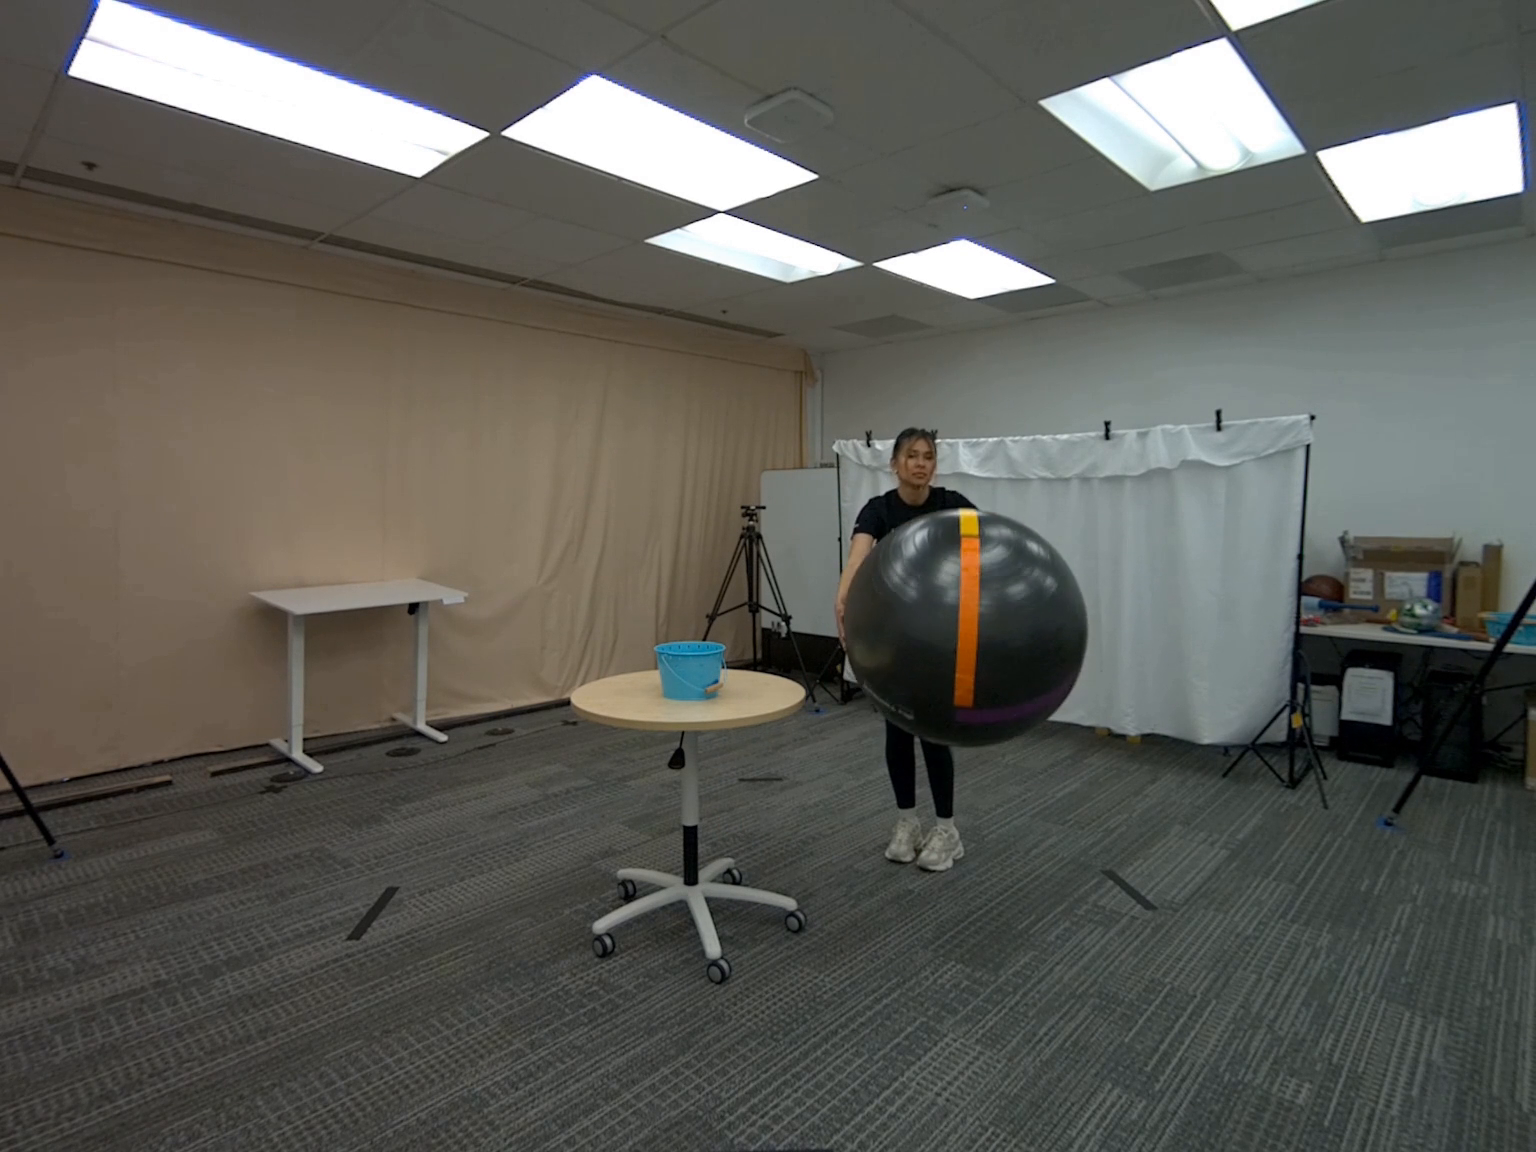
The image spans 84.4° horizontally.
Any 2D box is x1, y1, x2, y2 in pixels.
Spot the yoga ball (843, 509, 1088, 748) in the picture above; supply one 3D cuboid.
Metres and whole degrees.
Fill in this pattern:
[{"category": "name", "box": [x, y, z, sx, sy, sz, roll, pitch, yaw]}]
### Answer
[{"category": "yoga ball", "box": [0.632, 0.167, 2.715, 0.757, 0.756, 0.761, 0, 4, -2]}]
